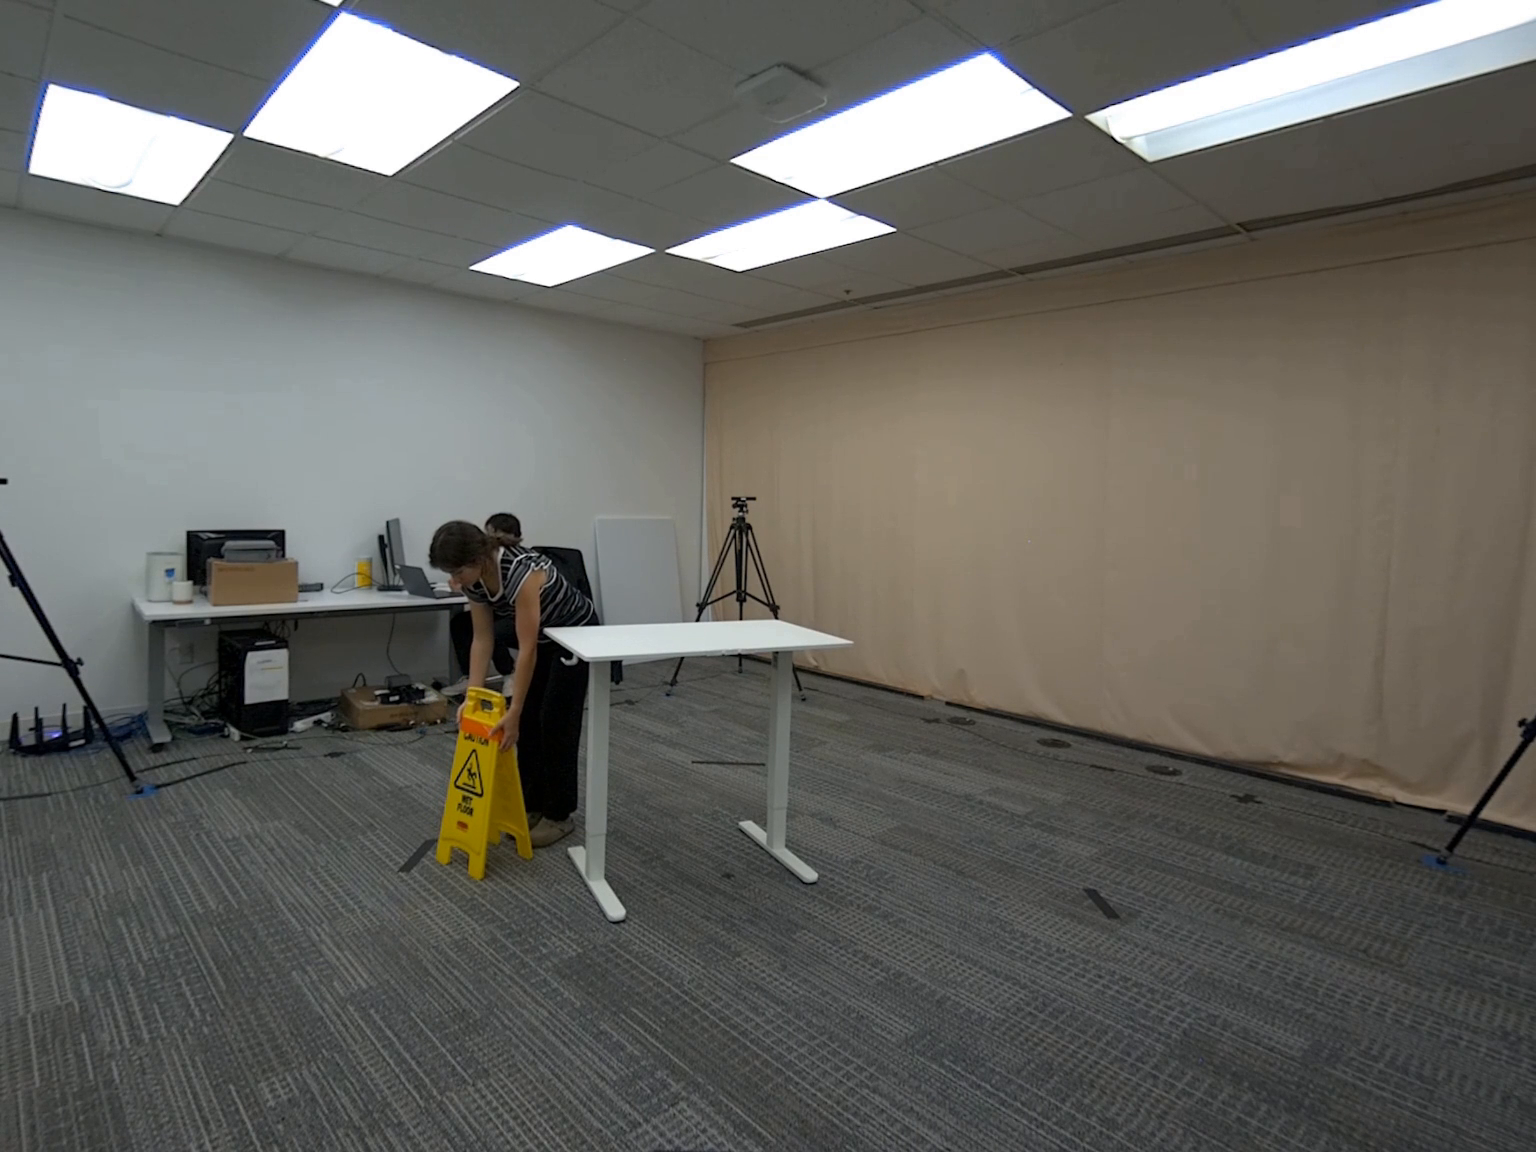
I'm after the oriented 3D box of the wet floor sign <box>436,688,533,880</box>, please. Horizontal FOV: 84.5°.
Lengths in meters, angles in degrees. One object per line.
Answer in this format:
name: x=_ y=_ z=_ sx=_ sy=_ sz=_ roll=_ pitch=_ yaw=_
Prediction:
wet floor sign: x=-1.089 y=0.759 z=3.187 sx=0.289 sy=0.645 sz=0.283 roll=4 pitch=4 yaw=35
